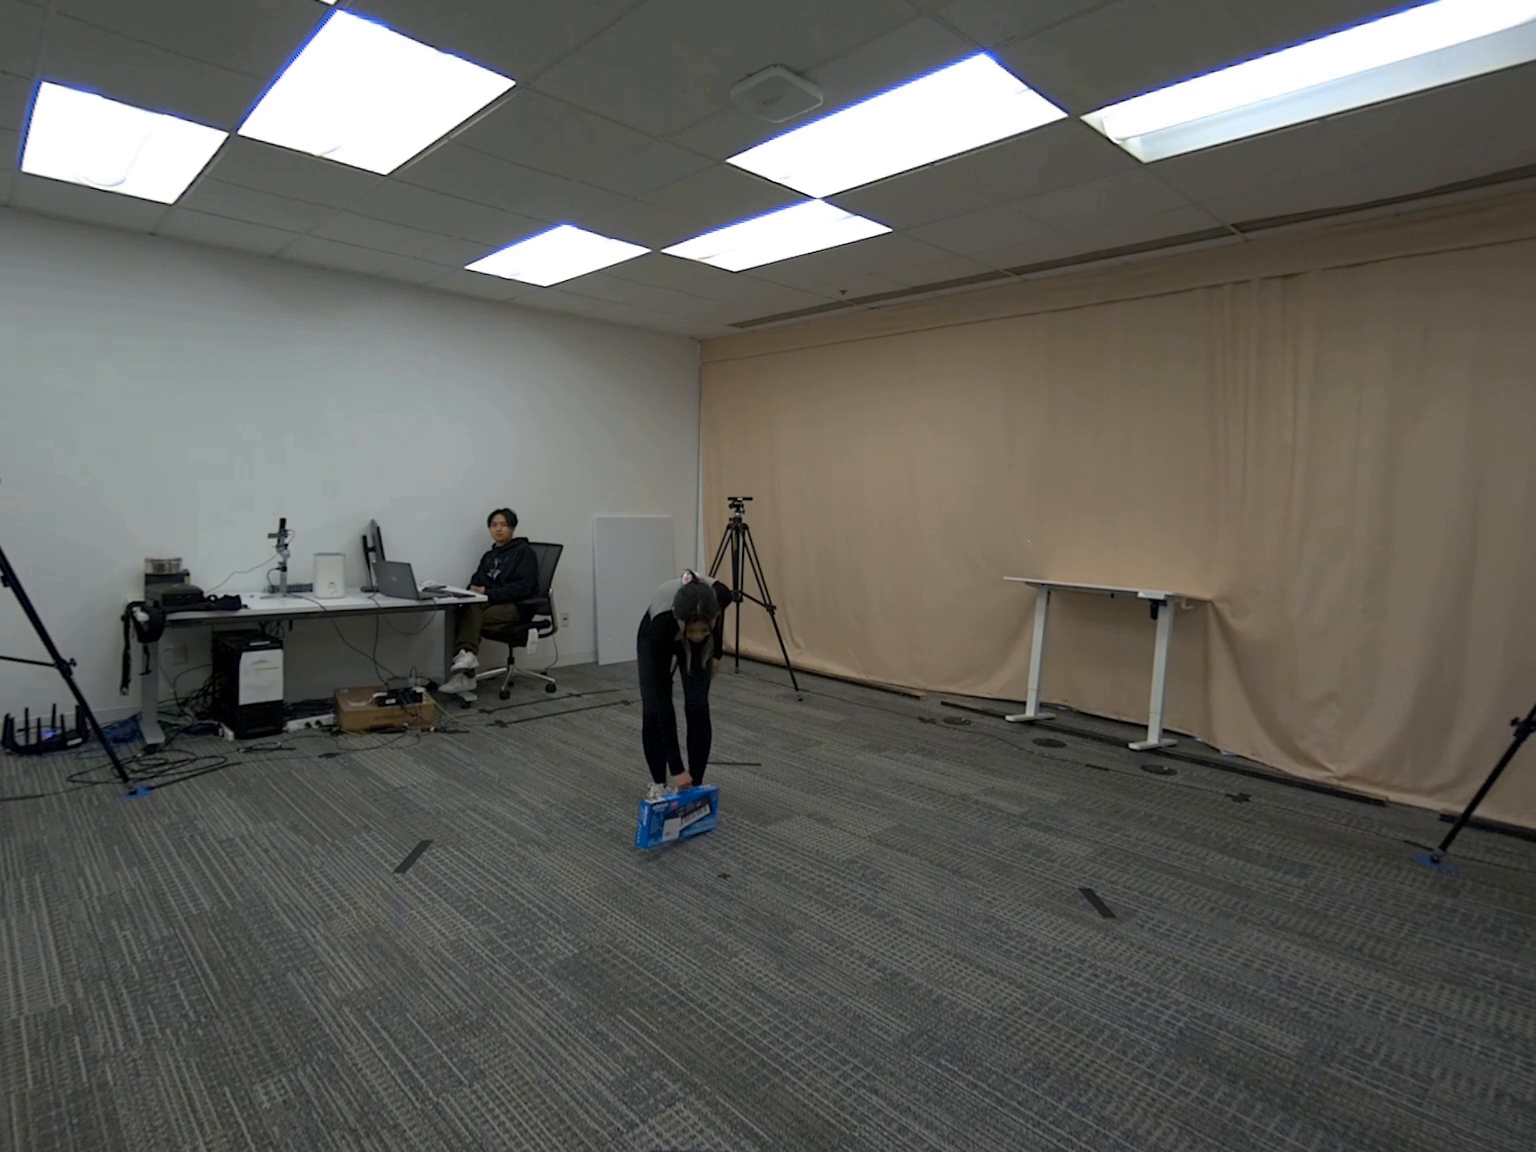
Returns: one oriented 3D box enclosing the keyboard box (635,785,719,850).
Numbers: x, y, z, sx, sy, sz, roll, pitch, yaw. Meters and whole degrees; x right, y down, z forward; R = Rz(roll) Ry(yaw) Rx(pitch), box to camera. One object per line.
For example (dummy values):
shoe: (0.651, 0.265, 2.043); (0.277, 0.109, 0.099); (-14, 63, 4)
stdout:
keyboard box: (-0.361, 0.963, 3.381); (0.060, 0.176, 0.426); (6, 0, 34)
